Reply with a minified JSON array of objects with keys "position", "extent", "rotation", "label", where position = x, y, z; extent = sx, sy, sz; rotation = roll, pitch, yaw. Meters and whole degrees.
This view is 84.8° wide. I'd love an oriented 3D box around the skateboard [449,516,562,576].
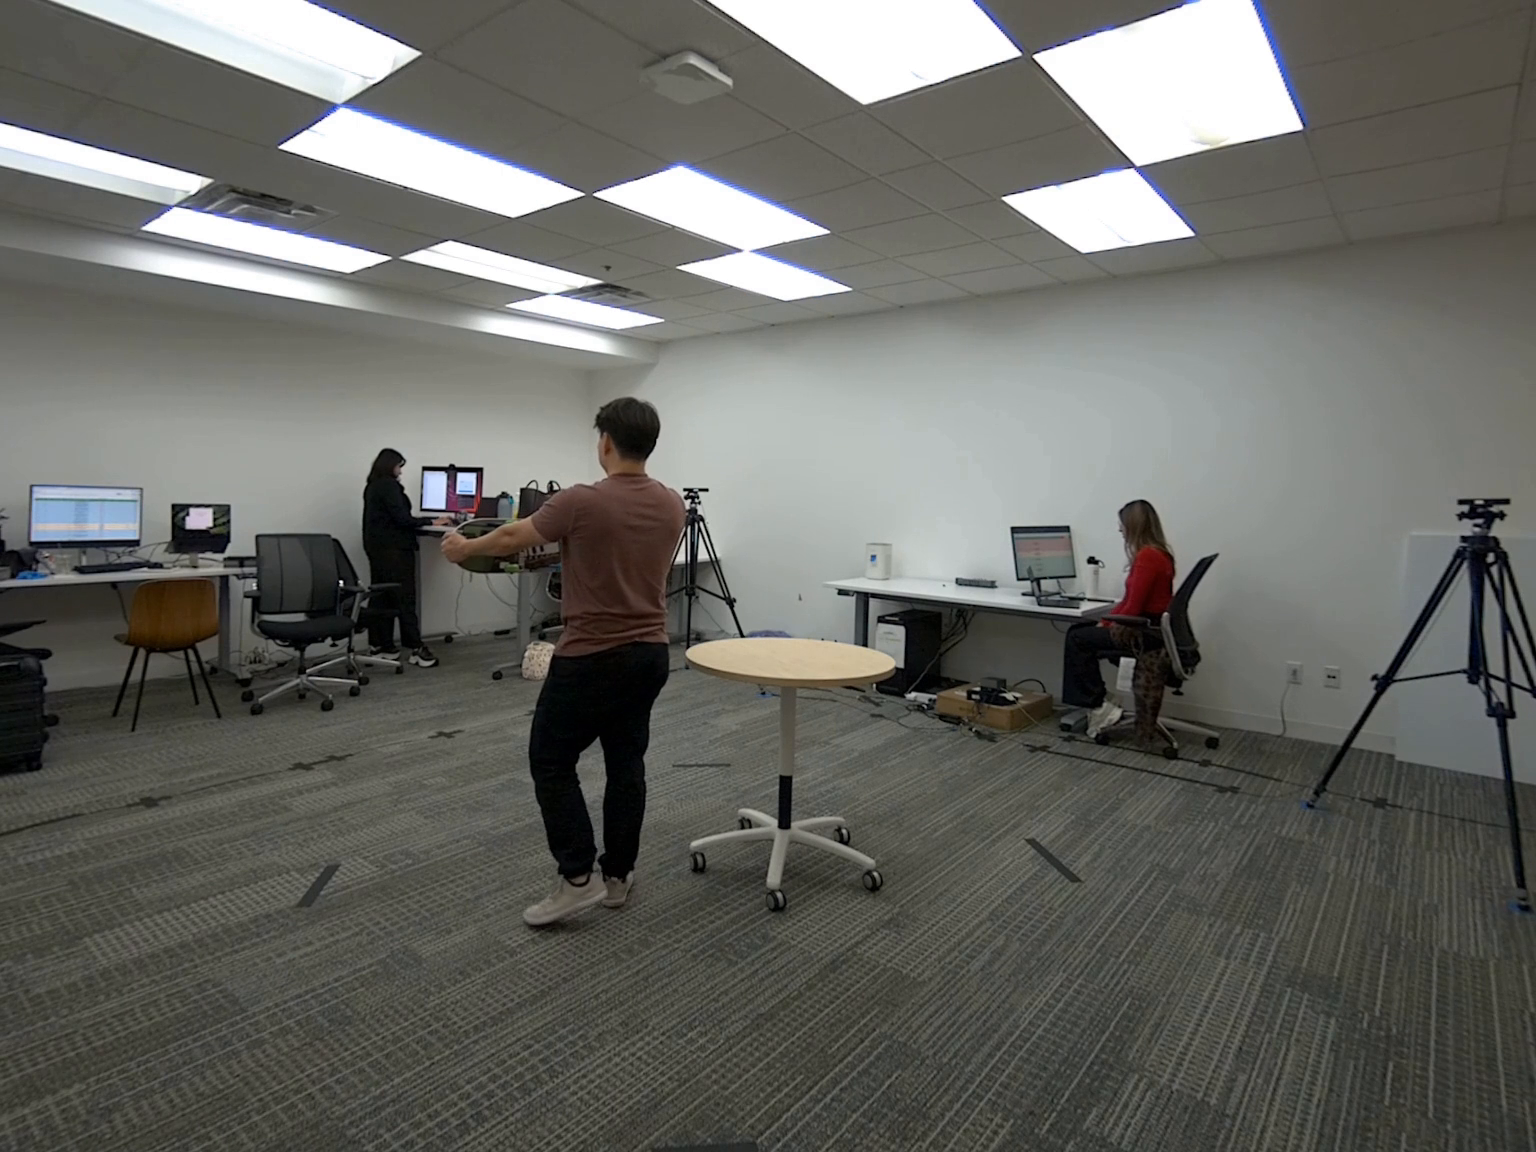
[{"position":[-0.781,-0.114,3.130],"extent":[0.761,0.192,0.114],"rotation":[-2,8,-41],"label":"skateboard"}]
